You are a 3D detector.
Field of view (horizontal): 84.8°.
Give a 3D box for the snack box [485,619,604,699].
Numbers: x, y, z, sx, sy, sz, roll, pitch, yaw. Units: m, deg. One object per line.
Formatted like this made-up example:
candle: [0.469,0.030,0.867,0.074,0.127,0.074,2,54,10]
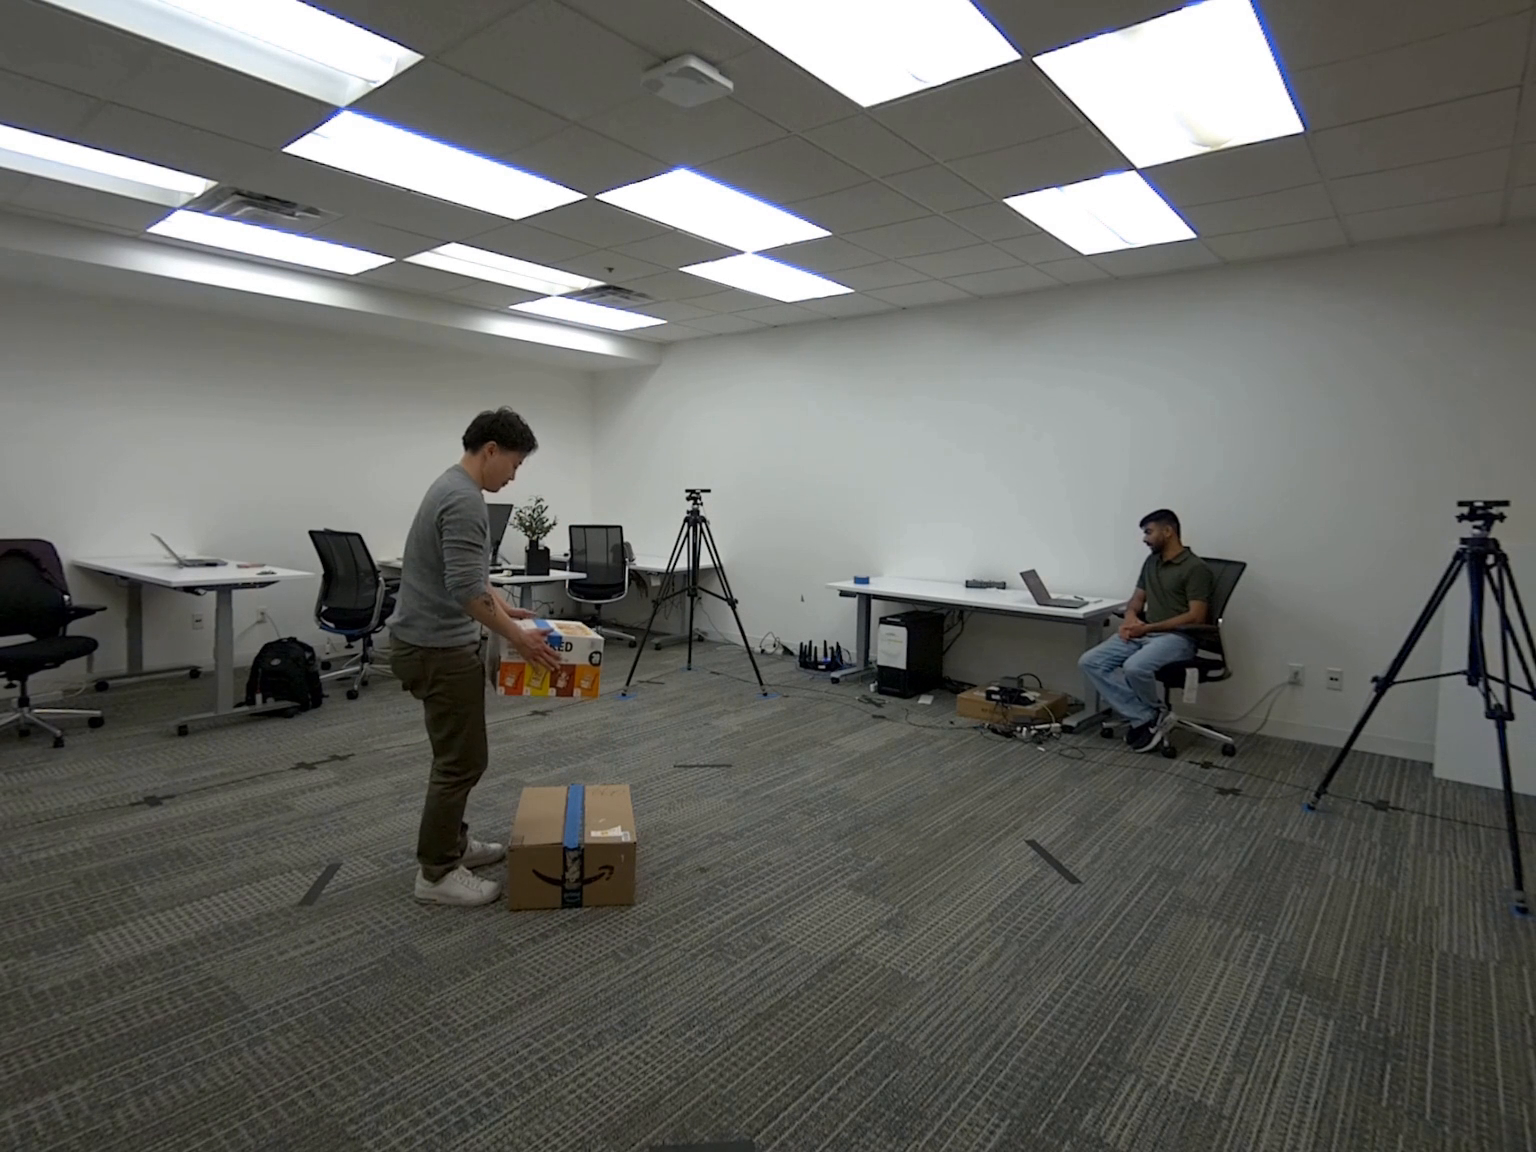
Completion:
snack box: [-0.808,0.284,2.993,0.332,0.205,0.415,4,3,-23]
